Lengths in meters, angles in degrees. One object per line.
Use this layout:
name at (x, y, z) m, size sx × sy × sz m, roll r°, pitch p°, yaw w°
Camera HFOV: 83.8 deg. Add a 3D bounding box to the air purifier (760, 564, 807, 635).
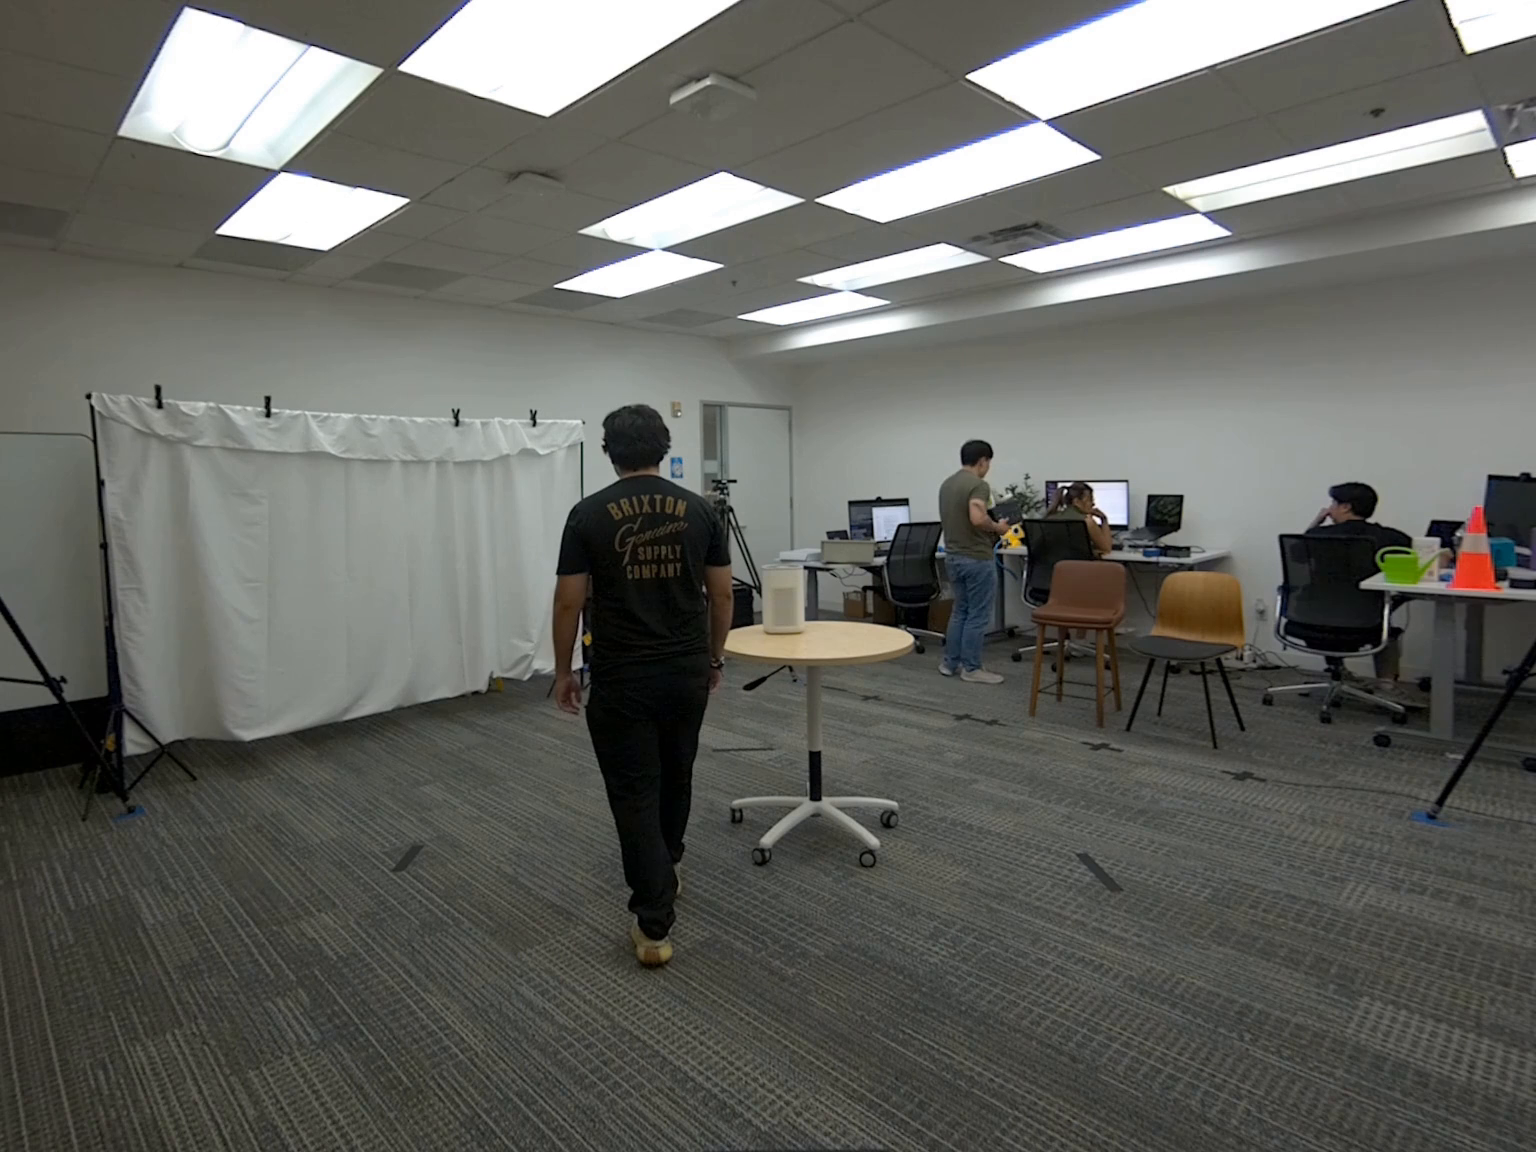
air purifier at (0.070, 0.089, 3.467) m, size 0.172 × 0.264 × 0.172 m, roll -1°, pitch 7°, yaw 0°
